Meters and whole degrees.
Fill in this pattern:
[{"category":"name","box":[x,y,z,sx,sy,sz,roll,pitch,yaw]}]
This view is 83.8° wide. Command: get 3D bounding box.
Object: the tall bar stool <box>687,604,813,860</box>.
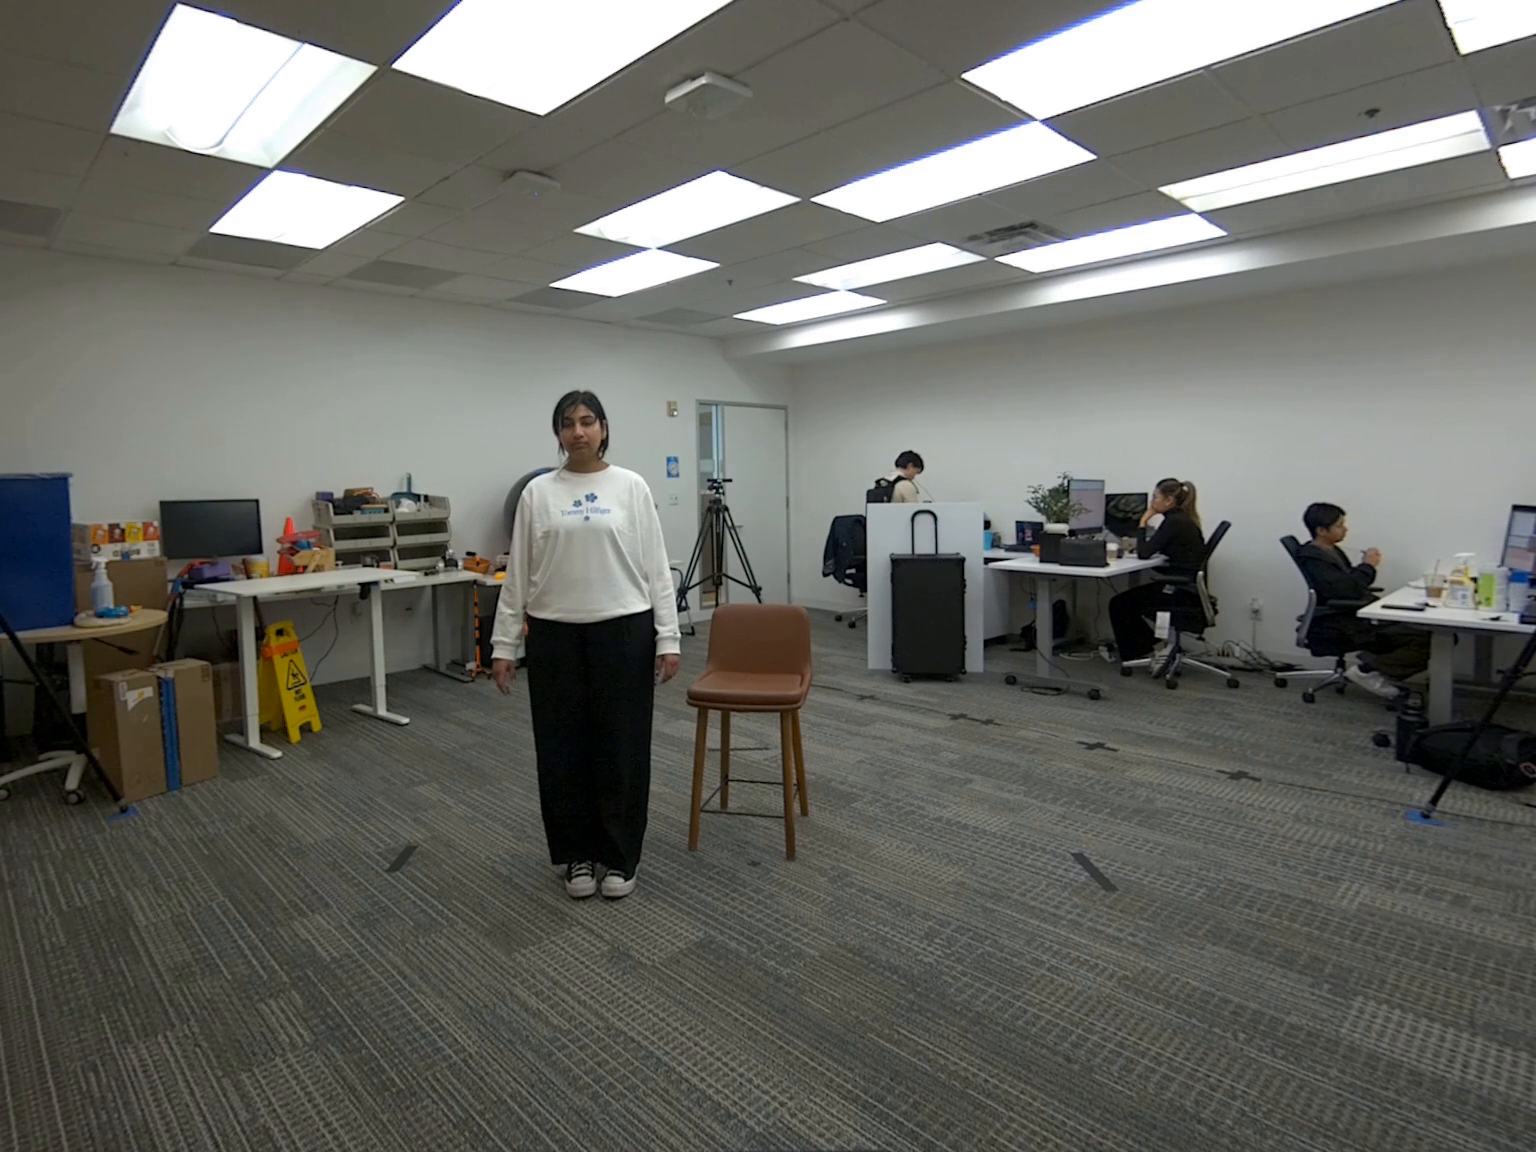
[{"category":"tall bar stool","box":[-0.062,0.581,3.372,0.463,0.888,0.462,0,2,14]}]
